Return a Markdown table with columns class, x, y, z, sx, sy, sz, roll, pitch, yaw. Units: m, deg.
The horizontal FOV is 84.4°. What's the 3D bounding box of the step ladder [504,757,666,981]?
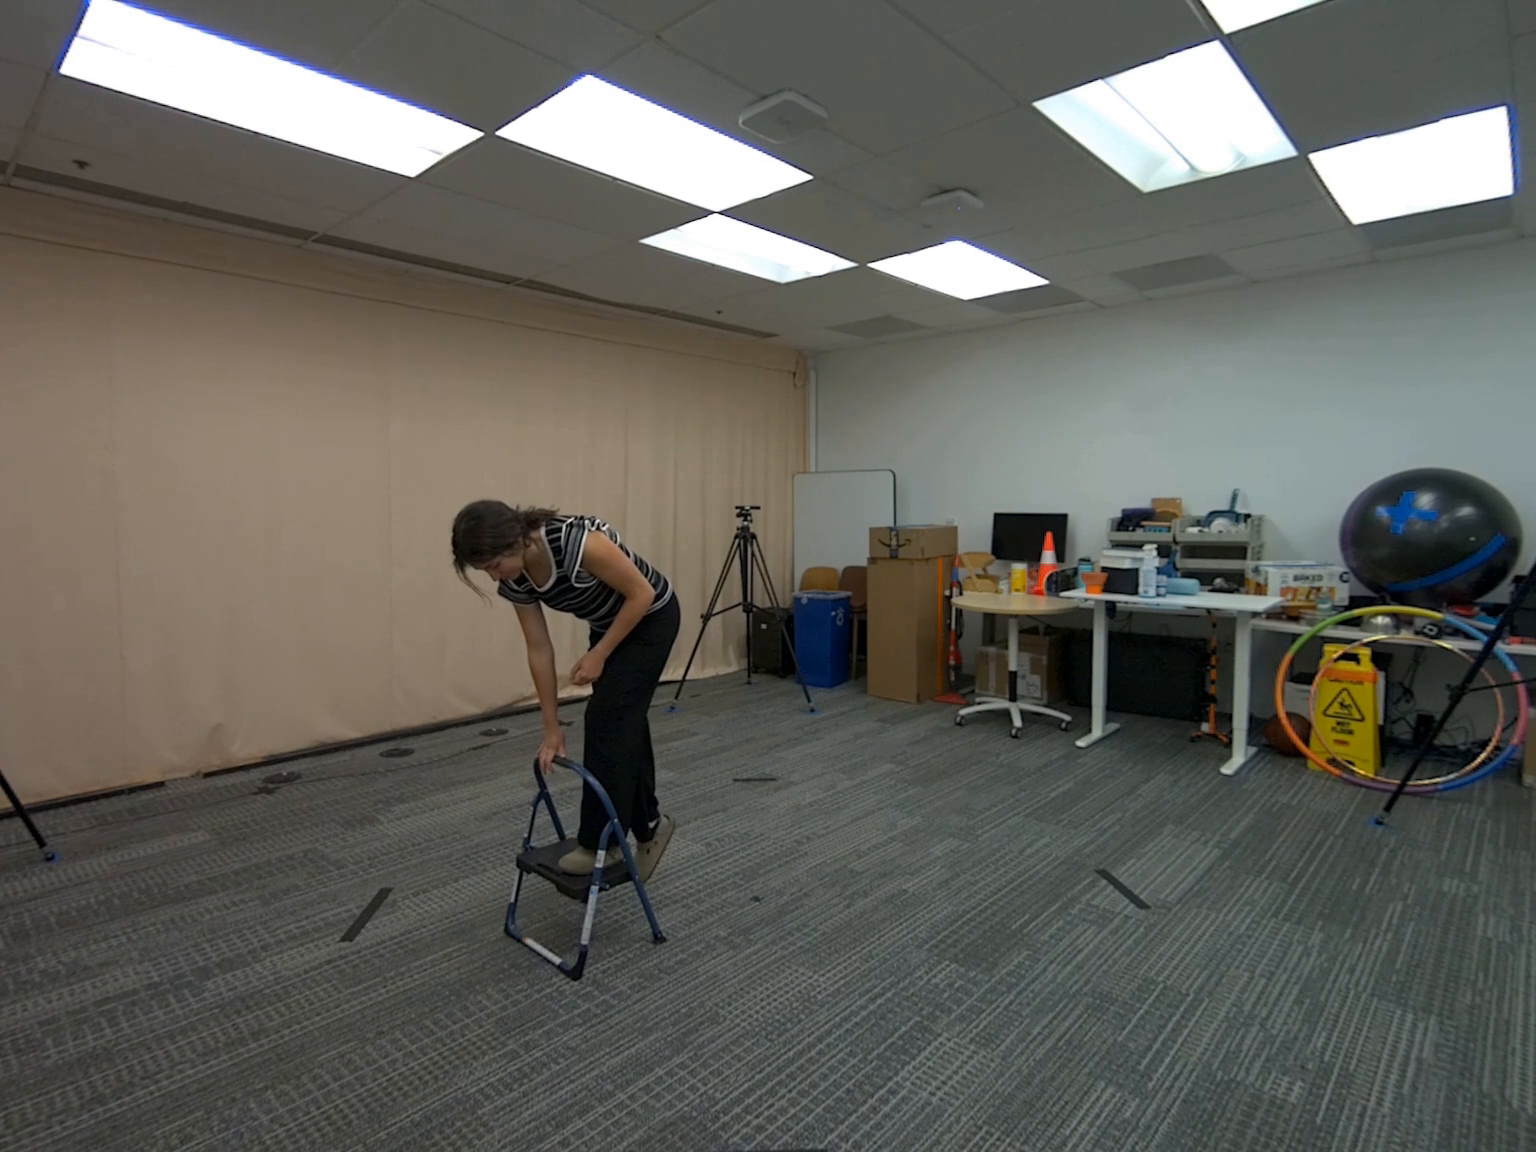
| class | x | y | z | sx | sy | sz | roll | pitch | yaw |
| --- | --- | --- | --- | --- | --- | --- | --- | --- | --- |
| step ladder | -0.604 | 0.872 | 2.717 | 0.445 | 0.605 | 0.338 | 2 | 3 | 43 |
